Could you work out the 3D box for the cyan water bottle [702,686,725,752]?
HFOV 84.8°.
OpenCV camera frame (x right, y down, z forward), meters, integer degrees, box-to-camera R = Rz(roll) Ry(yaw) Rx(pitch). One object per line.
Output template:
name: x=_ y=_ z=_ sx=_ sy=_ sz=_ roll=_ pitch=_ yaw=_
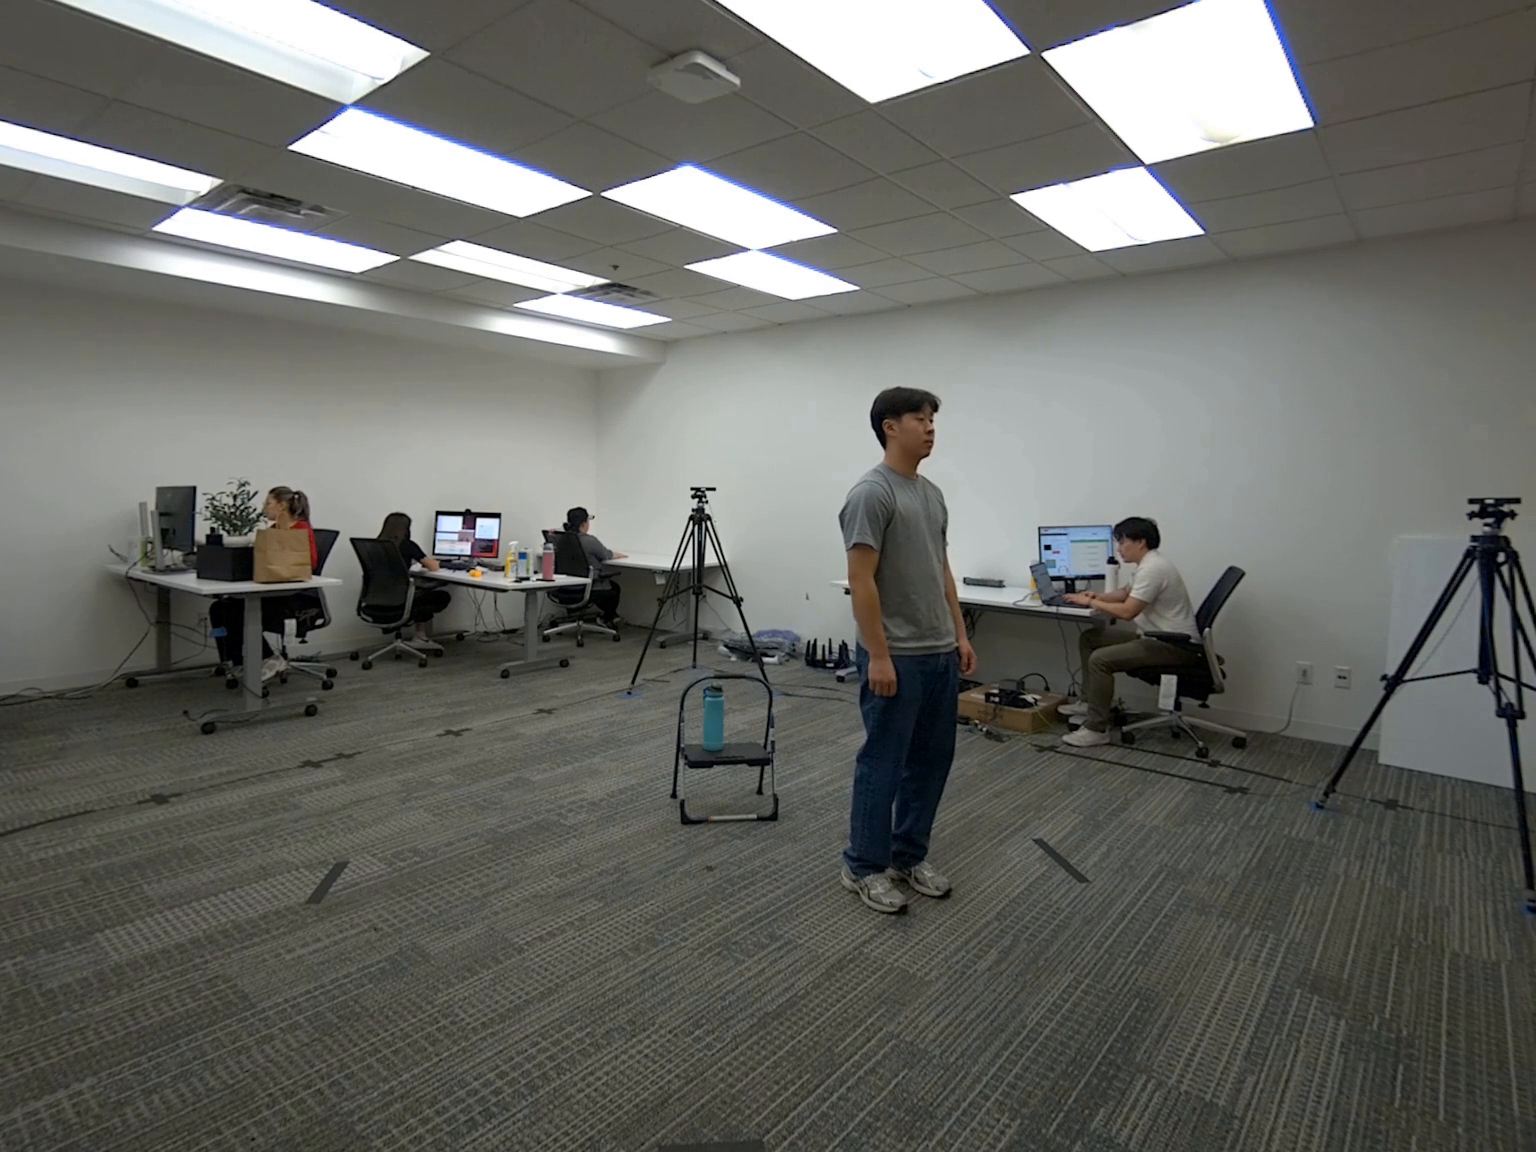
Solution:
cyan water bottle: x=-0.244 y=0.603 z=3.707 sx=0.092 sy=0.283 sz=0.092 roll=-2 pitch=1 yaw=-2
